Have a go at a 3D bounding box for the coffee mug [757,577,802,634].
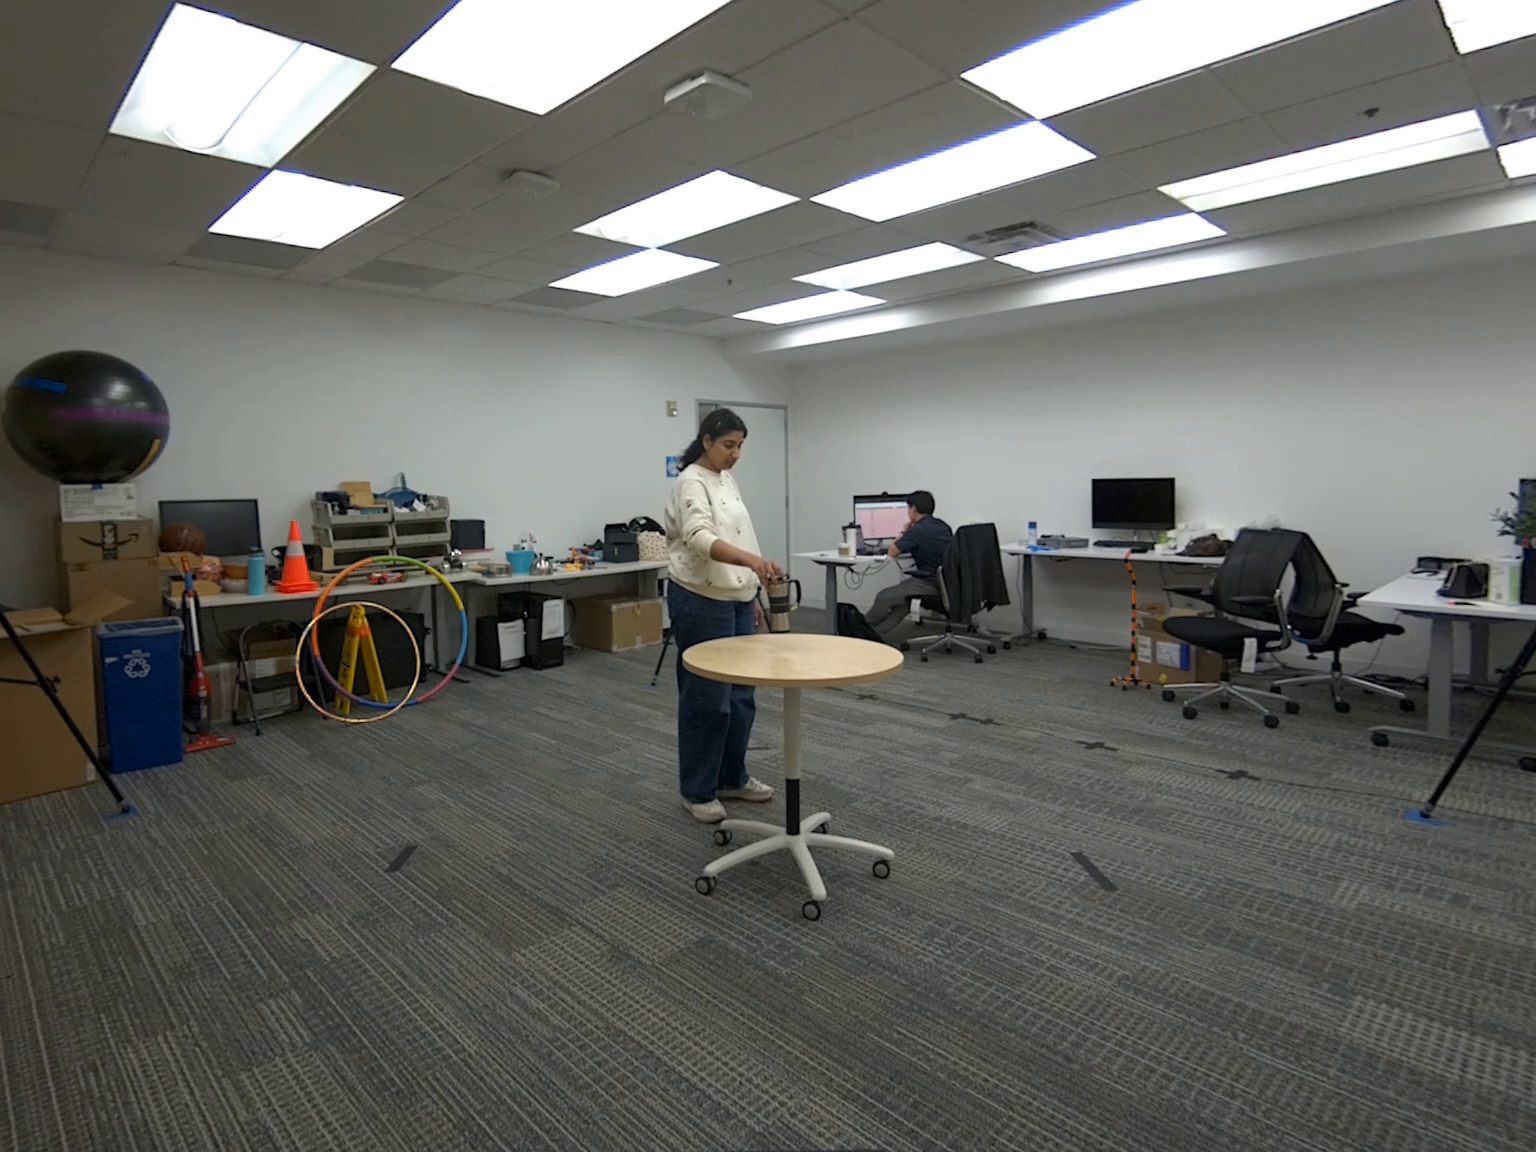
[{"bbox_3d":[0.055,0.105,3.015,0.125,0.202,0.085,0,4,42],"label":"coffee mug"}]
